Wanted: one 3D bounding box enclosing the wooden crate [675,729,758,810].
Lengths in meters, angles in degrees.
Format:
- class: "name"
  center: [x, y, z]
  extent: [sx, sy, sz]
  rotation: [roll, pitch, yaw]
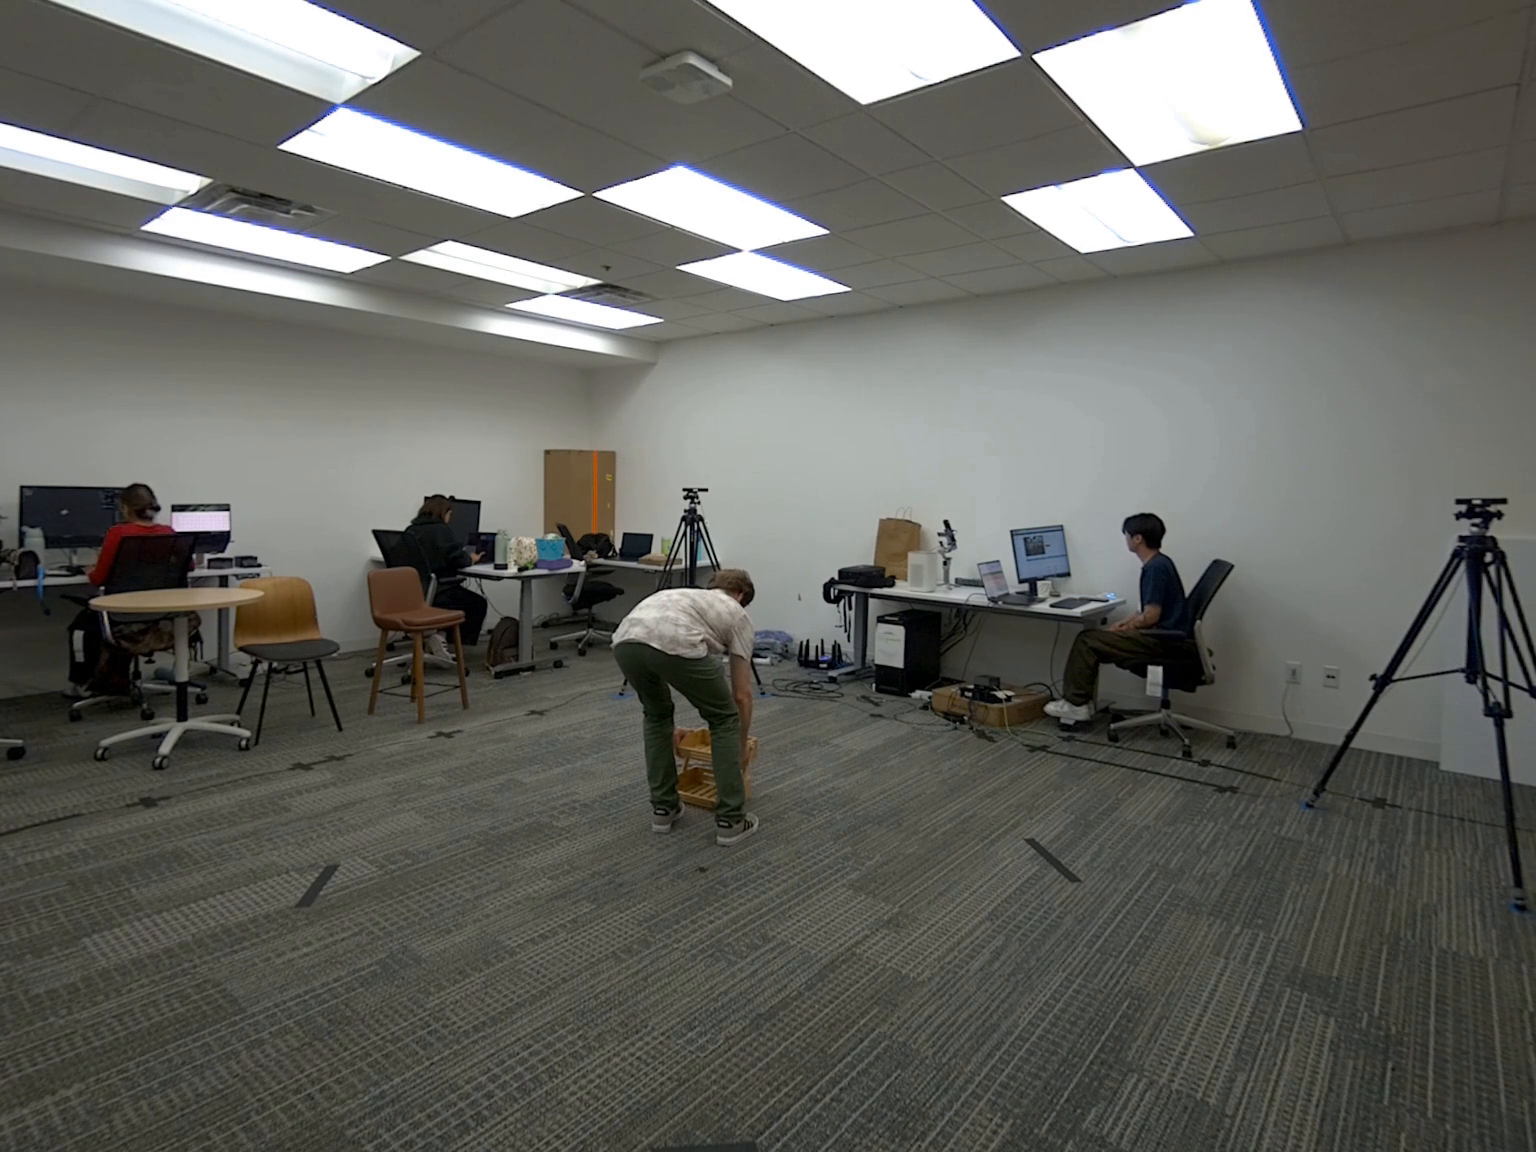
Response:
- class: "wooden crate"
  center: [-0.266, 0.861, 3.847]
  extent: [0.334, 0.273, 0.294]
  rotation: [3, 3, 30]
